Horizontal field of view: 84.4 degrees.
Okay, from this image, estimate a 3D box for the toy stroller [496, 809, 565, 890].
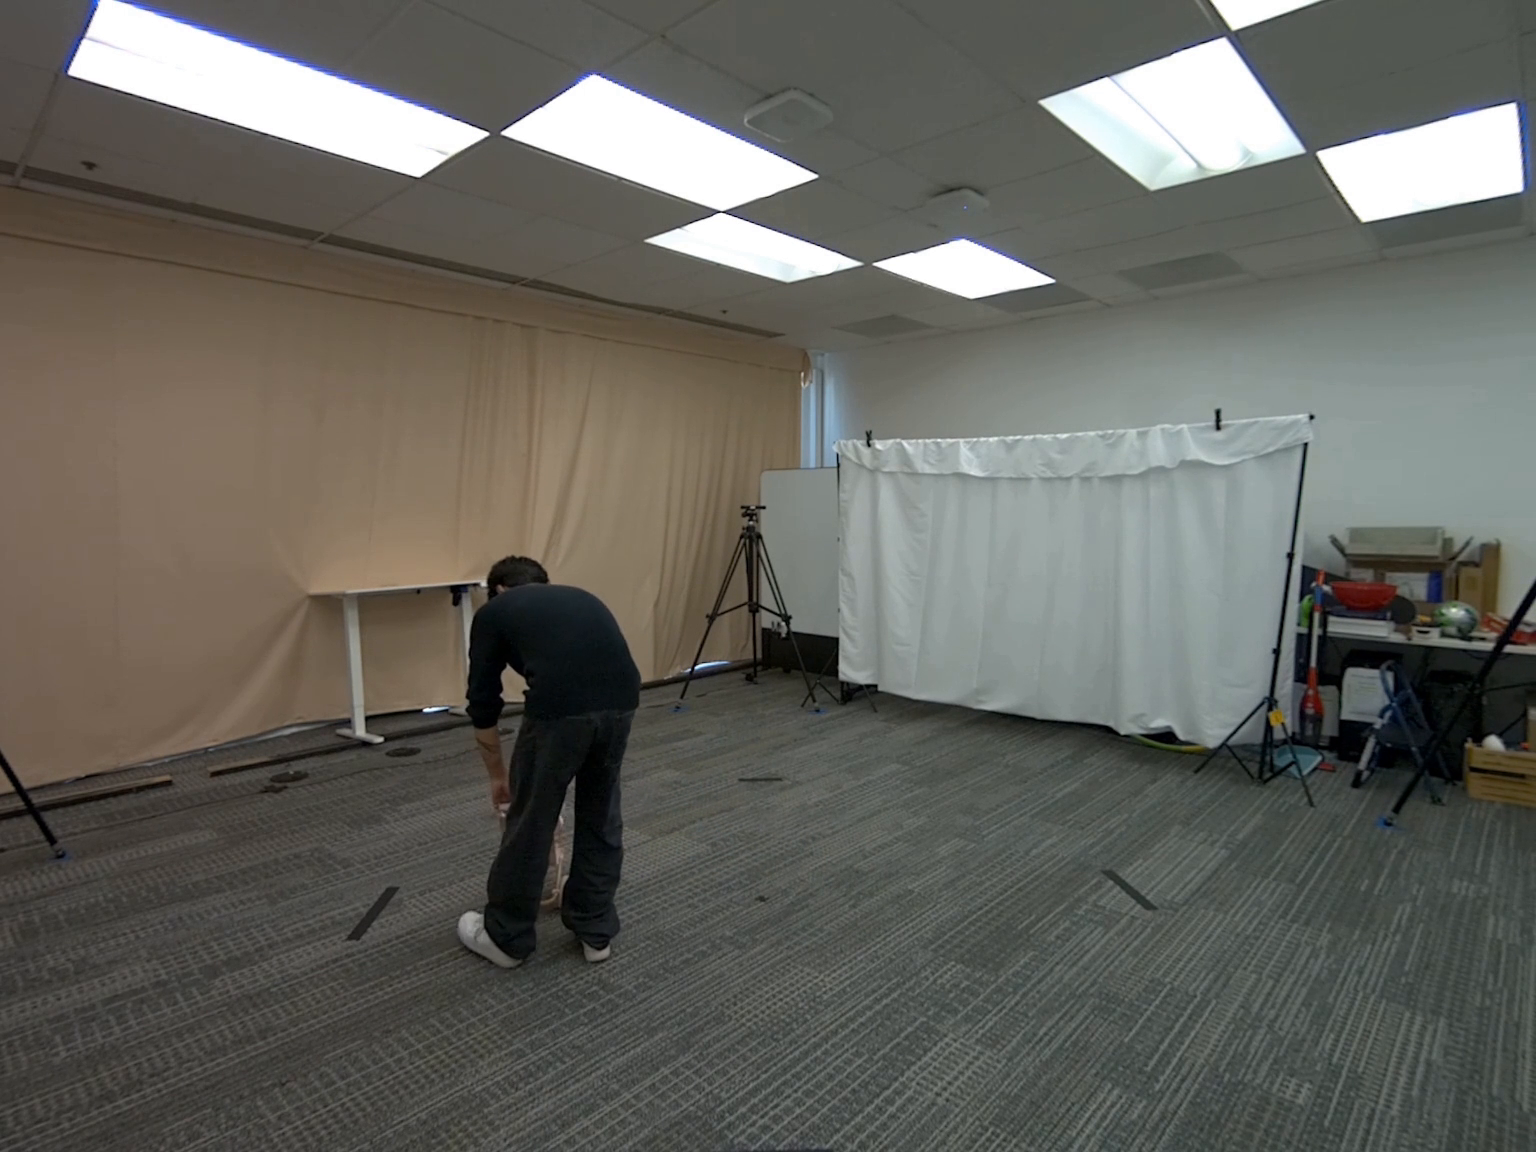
[{"bbox_3d":[-0.831,0.927,2.969,0.281,0.529,0.346,1,19,-4],"label":"toy stroller"}]
